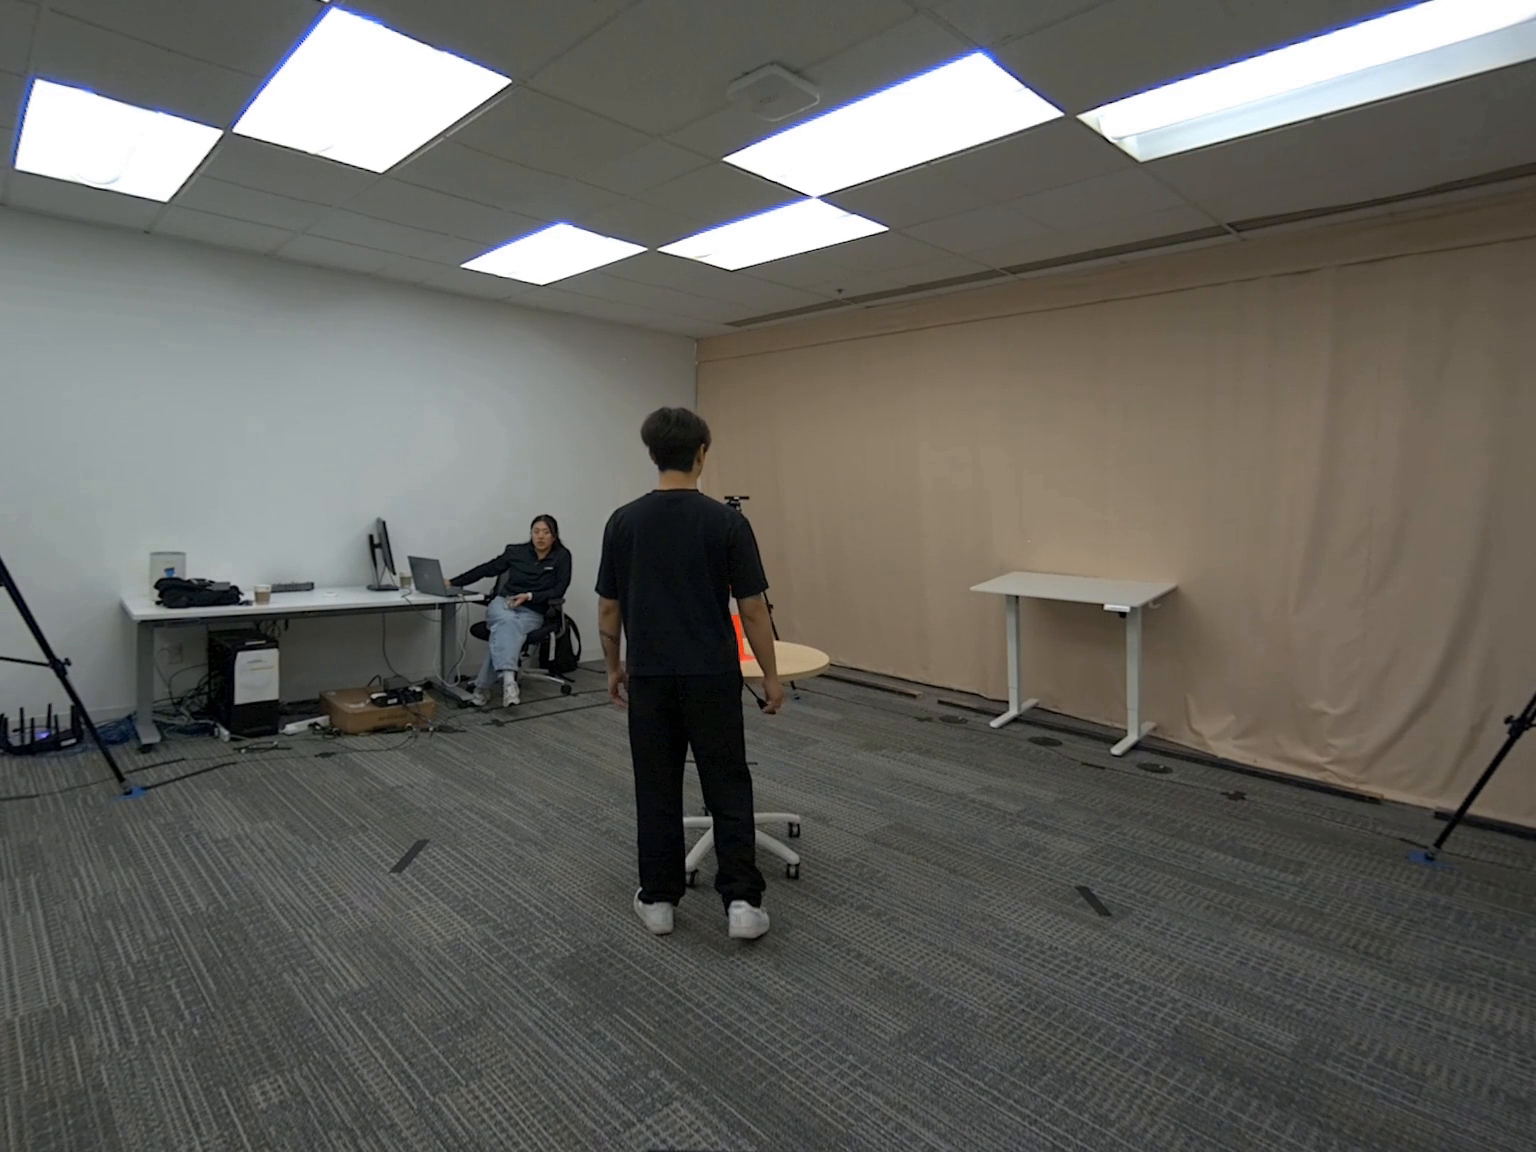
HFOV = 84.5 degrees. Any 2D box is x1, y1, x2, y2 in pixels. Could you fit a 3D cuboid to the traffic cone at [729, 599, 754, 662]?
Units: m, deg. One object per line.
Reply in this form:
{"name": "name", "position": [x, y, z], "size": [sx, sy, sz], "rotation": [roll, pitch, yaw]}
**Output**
{"name": "traffic cone", "position": [-0.164, 0.127, 3.203], "size": [0.208, 0.382, 0.200], "rotation": [6, 5, 39]}
